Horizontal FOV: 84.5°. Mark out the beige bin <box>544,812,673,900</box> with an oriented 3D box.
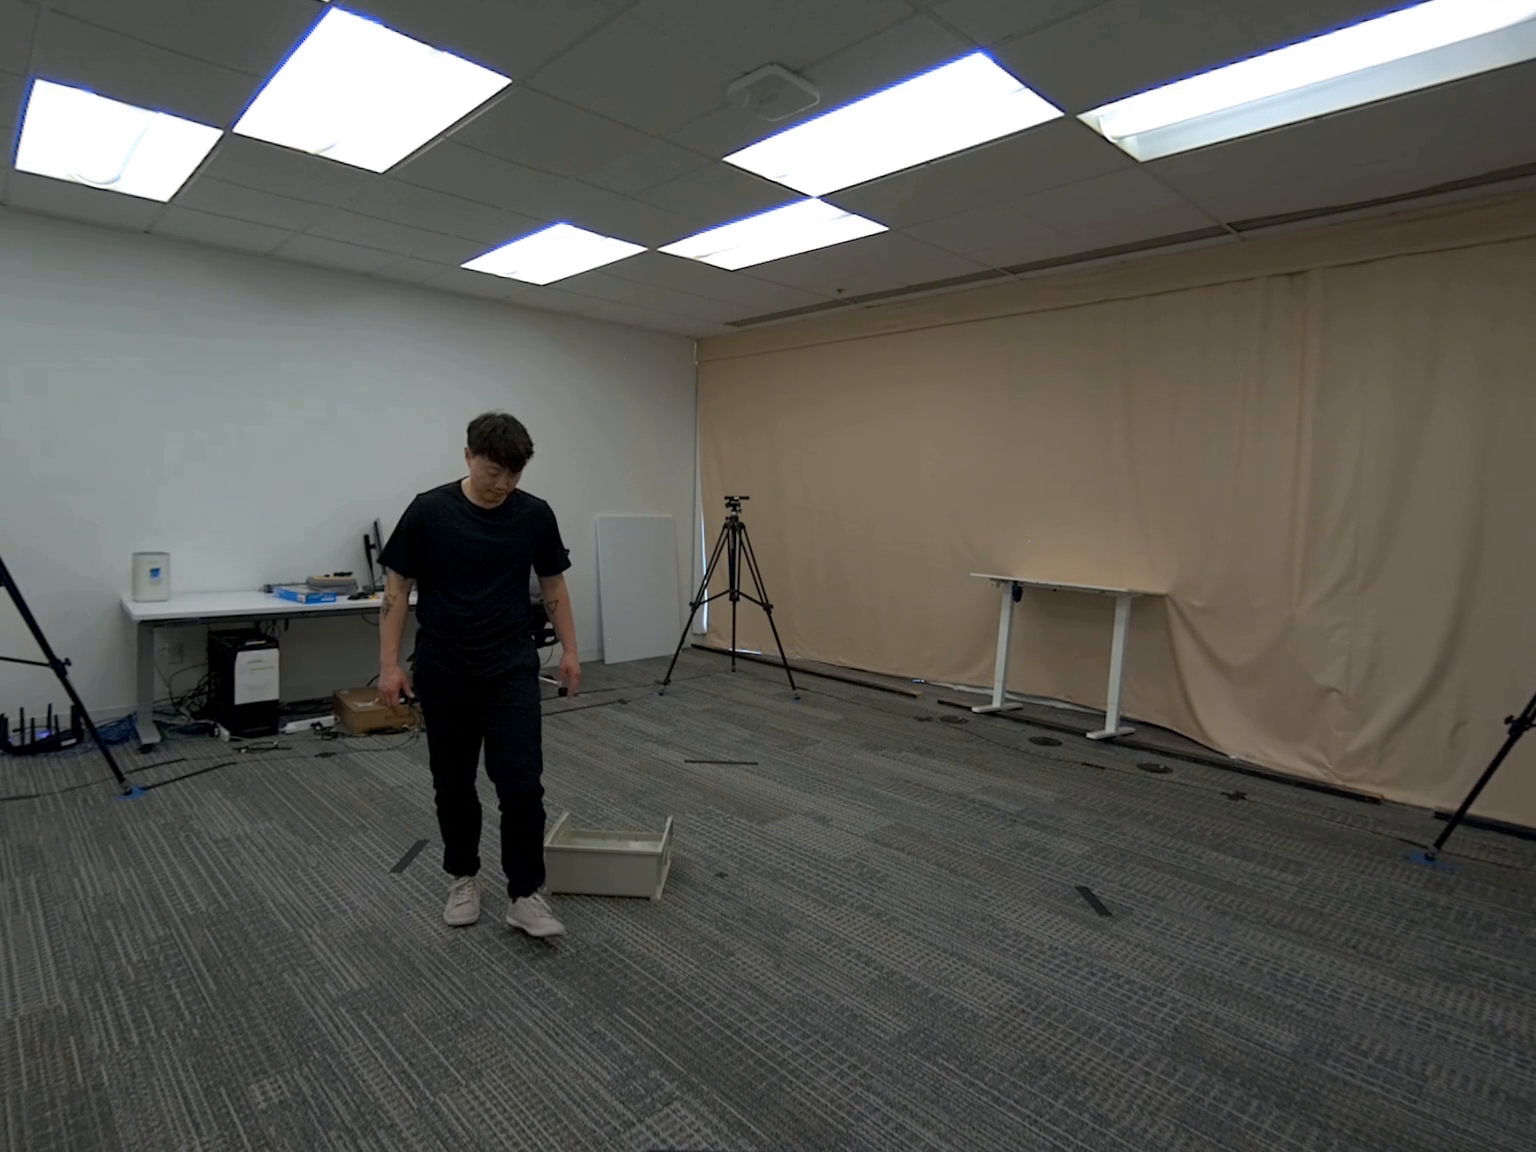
[{"bbox_3d":[-0.582,1.013,3.075,0.423,0.188,0.378,2,6,2],"label":"beige bin"}]
